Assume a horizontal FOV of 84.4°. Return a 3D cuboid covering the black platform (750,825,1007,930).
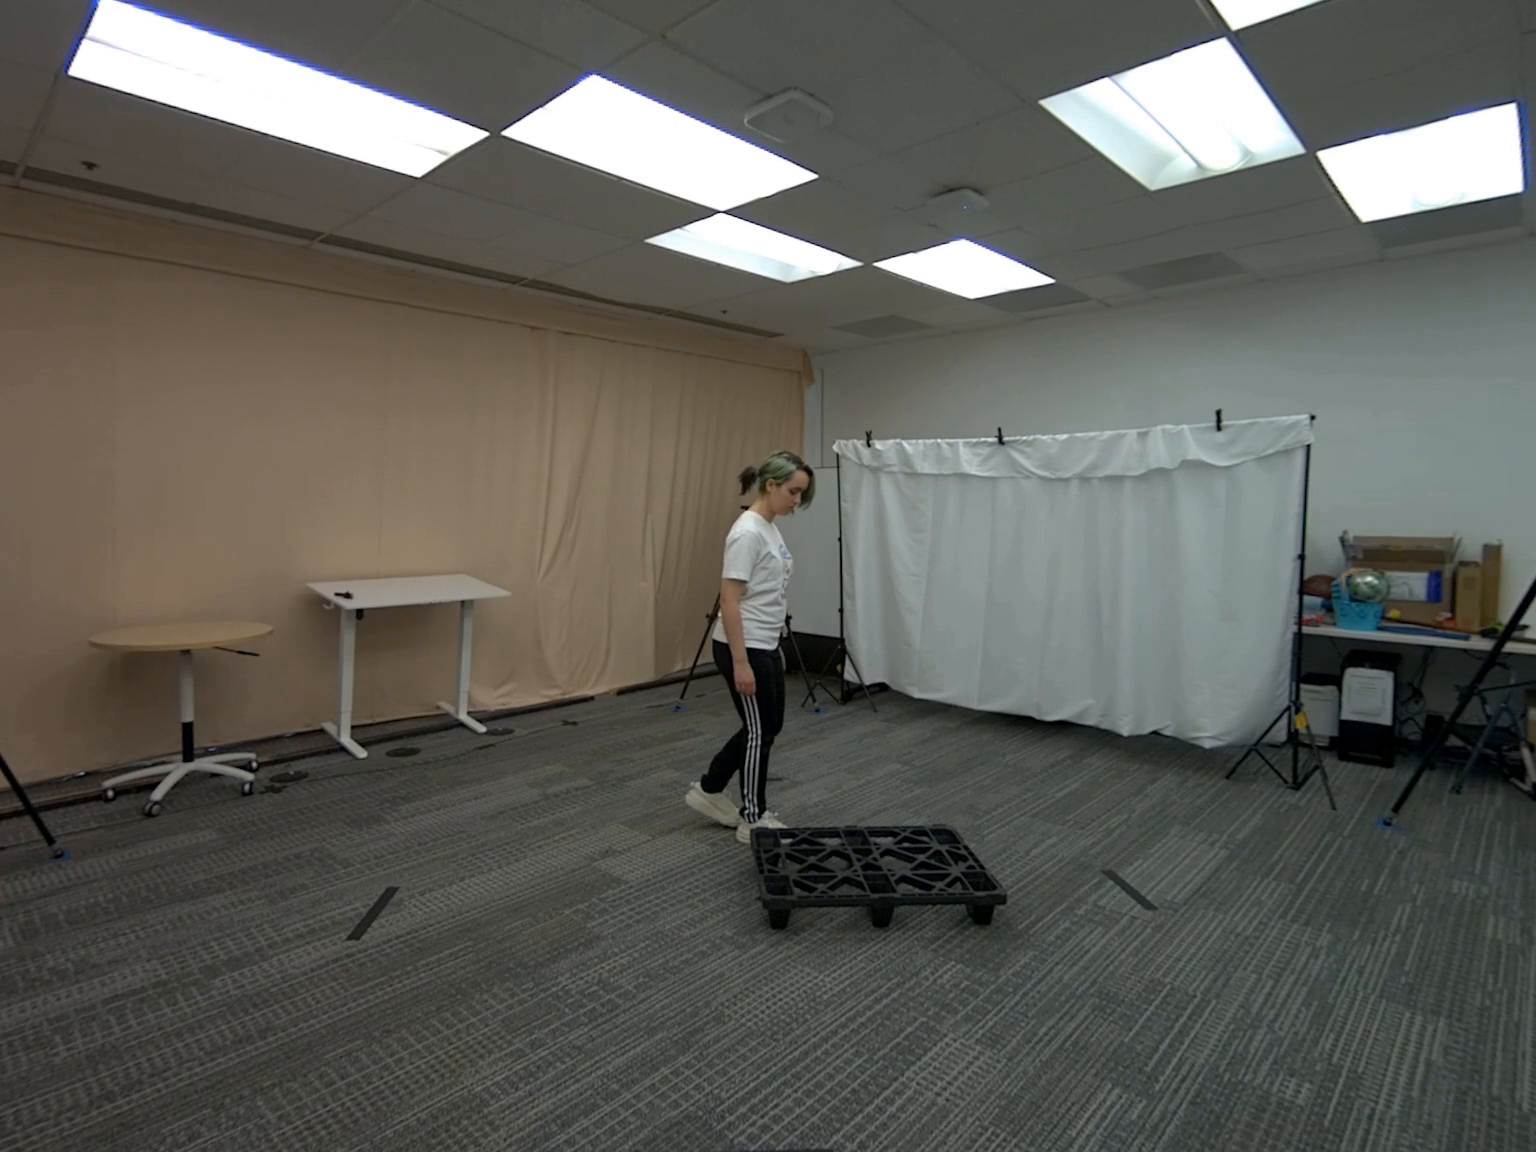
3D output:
[{"bbox_3d":[0.355,1.070,3.009,0.804,0.143,0.608,0,4,-3],"label":"black platform"}]
